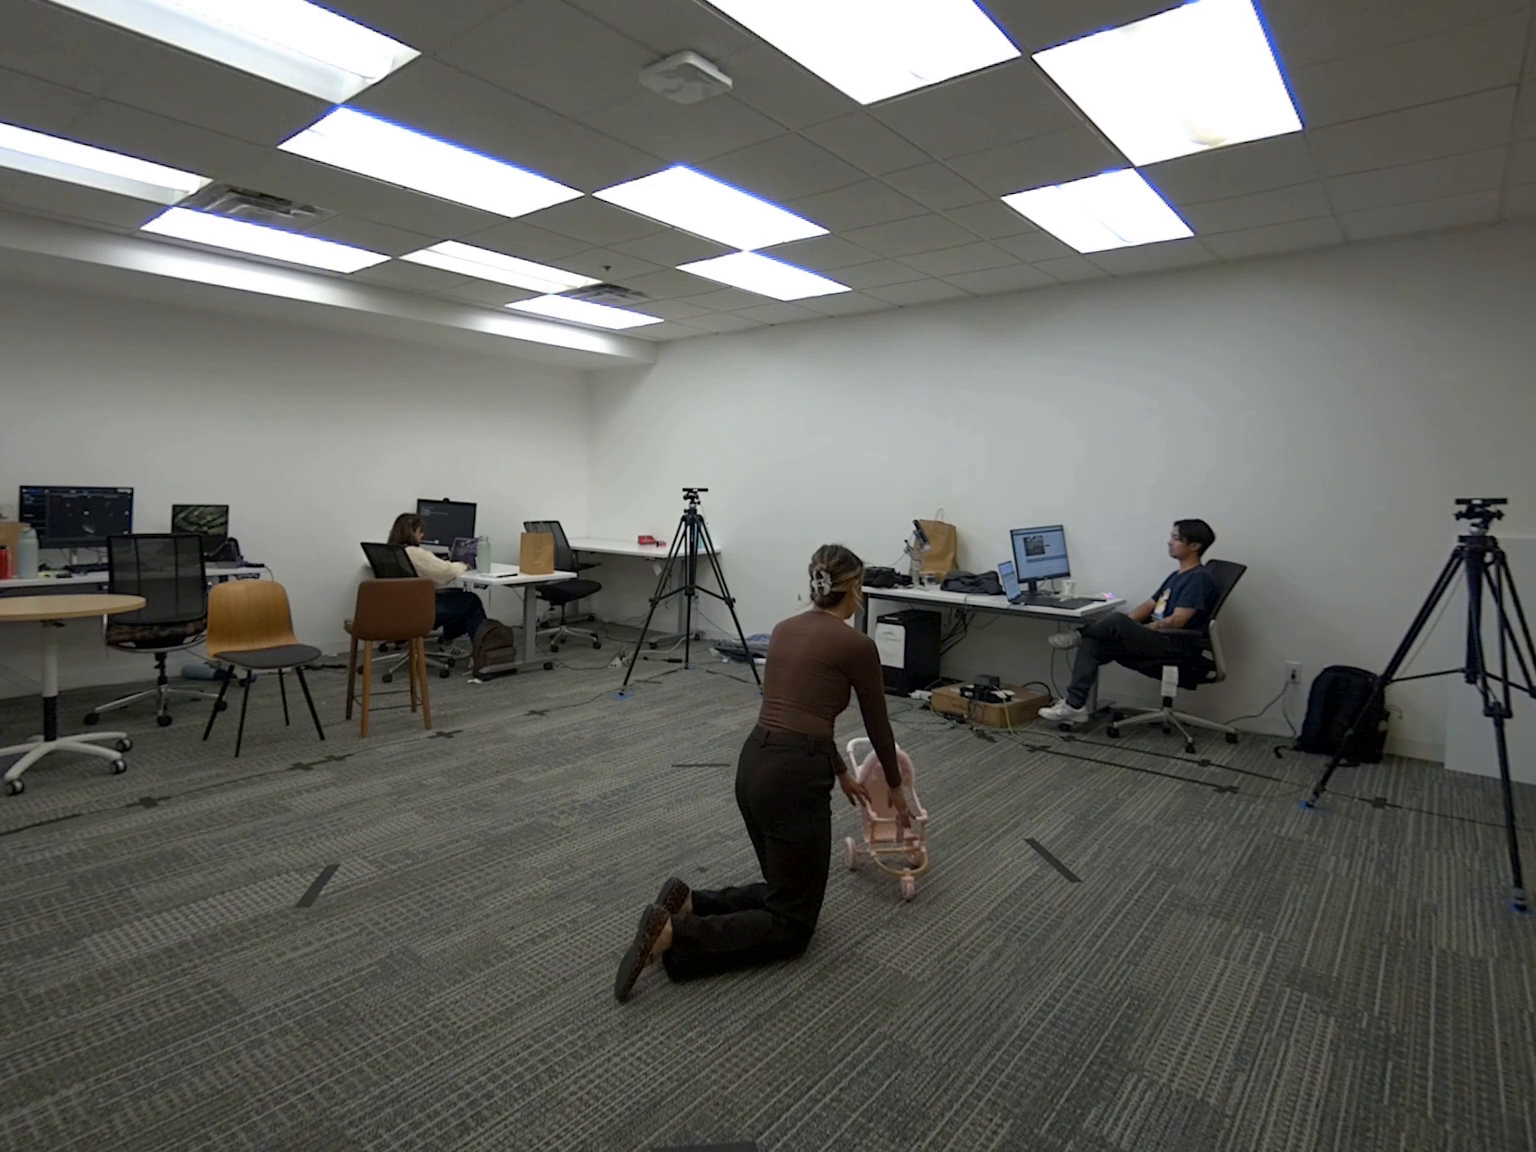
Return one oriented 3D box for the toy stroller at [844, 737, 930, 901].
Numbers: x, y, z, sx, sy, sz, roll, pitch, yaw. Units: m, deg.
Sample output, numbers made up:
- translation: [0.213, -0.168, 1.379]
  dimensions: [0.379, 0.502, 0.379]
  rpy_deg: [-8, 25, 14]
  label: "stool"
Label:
- translation: [0.432, 0.859, 3.093]
  dimensions: [0.280, 0.541, 0.339]
  rpy_deg: [0, -12, -7]
  label: "toy stroller"
